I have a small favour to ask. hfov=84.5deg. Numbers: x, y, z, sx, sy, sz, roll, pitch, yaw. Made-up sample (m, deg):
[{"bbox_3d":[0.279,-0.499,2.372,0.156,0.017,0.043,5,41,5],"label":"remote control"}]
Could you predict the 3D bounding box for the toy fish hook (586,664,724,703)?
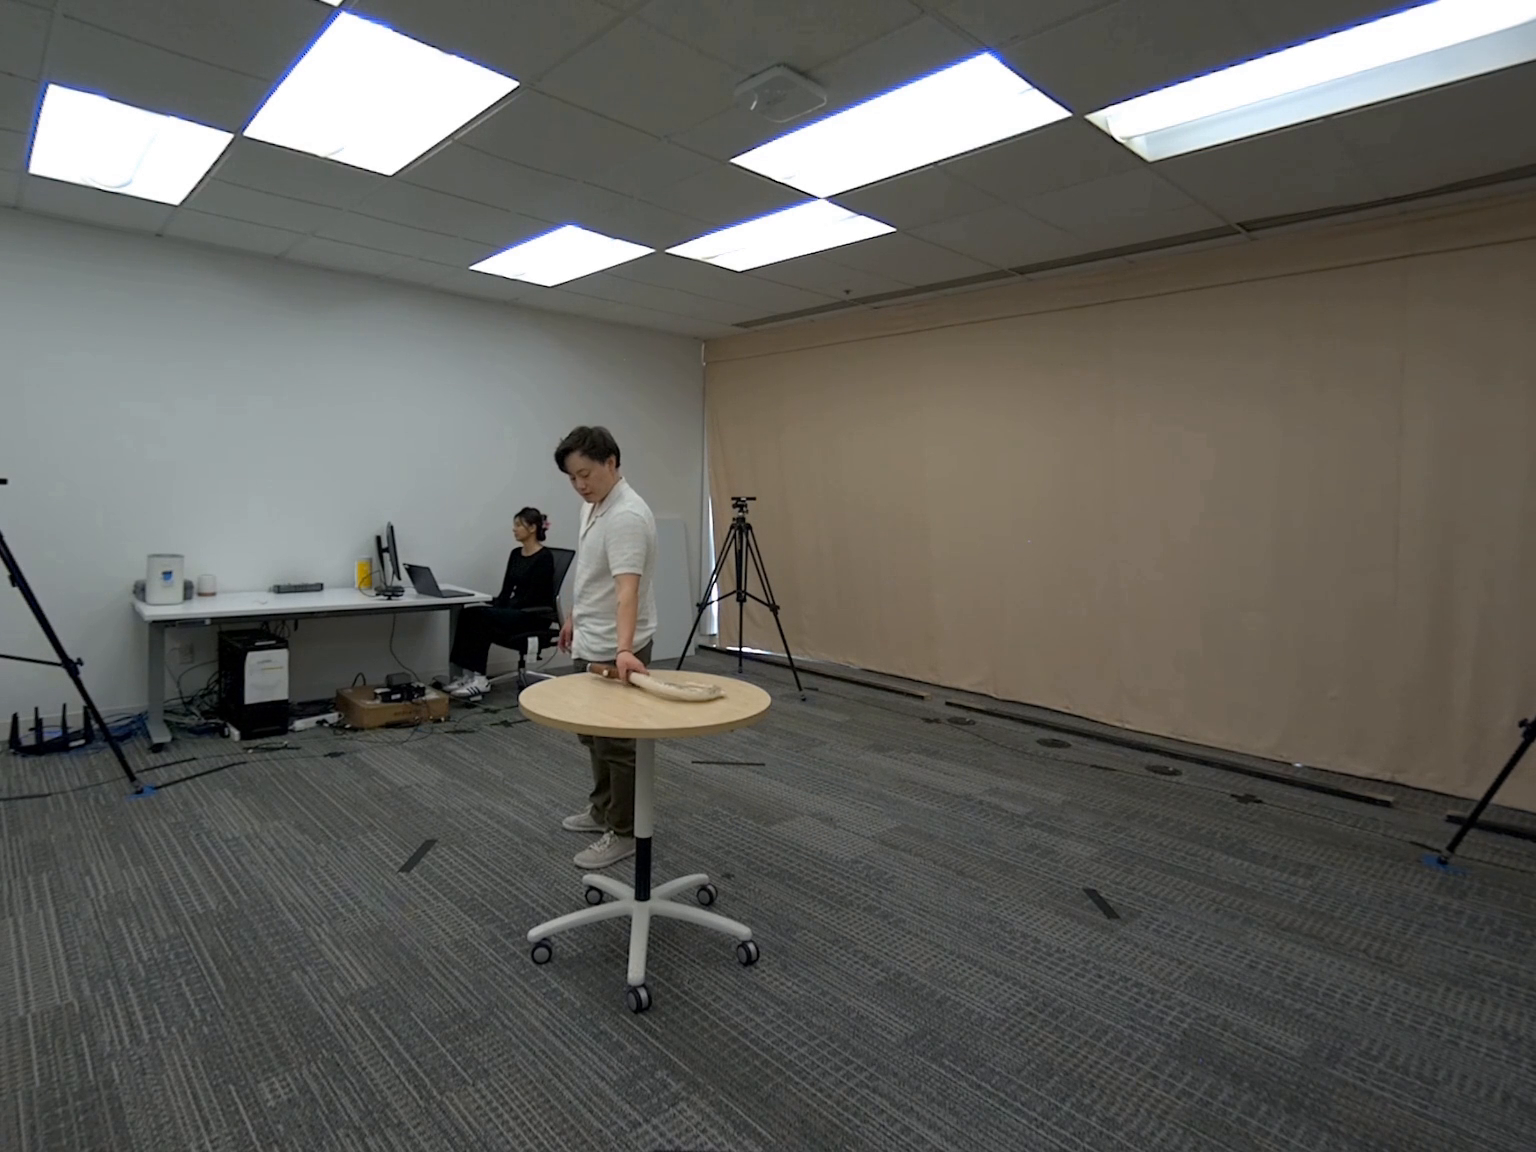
[{"bbox_3d":[-0.372,0.335,2.680,0.520,0.048,0.218,8,-1,37],"label":"toy fish hook"}]
